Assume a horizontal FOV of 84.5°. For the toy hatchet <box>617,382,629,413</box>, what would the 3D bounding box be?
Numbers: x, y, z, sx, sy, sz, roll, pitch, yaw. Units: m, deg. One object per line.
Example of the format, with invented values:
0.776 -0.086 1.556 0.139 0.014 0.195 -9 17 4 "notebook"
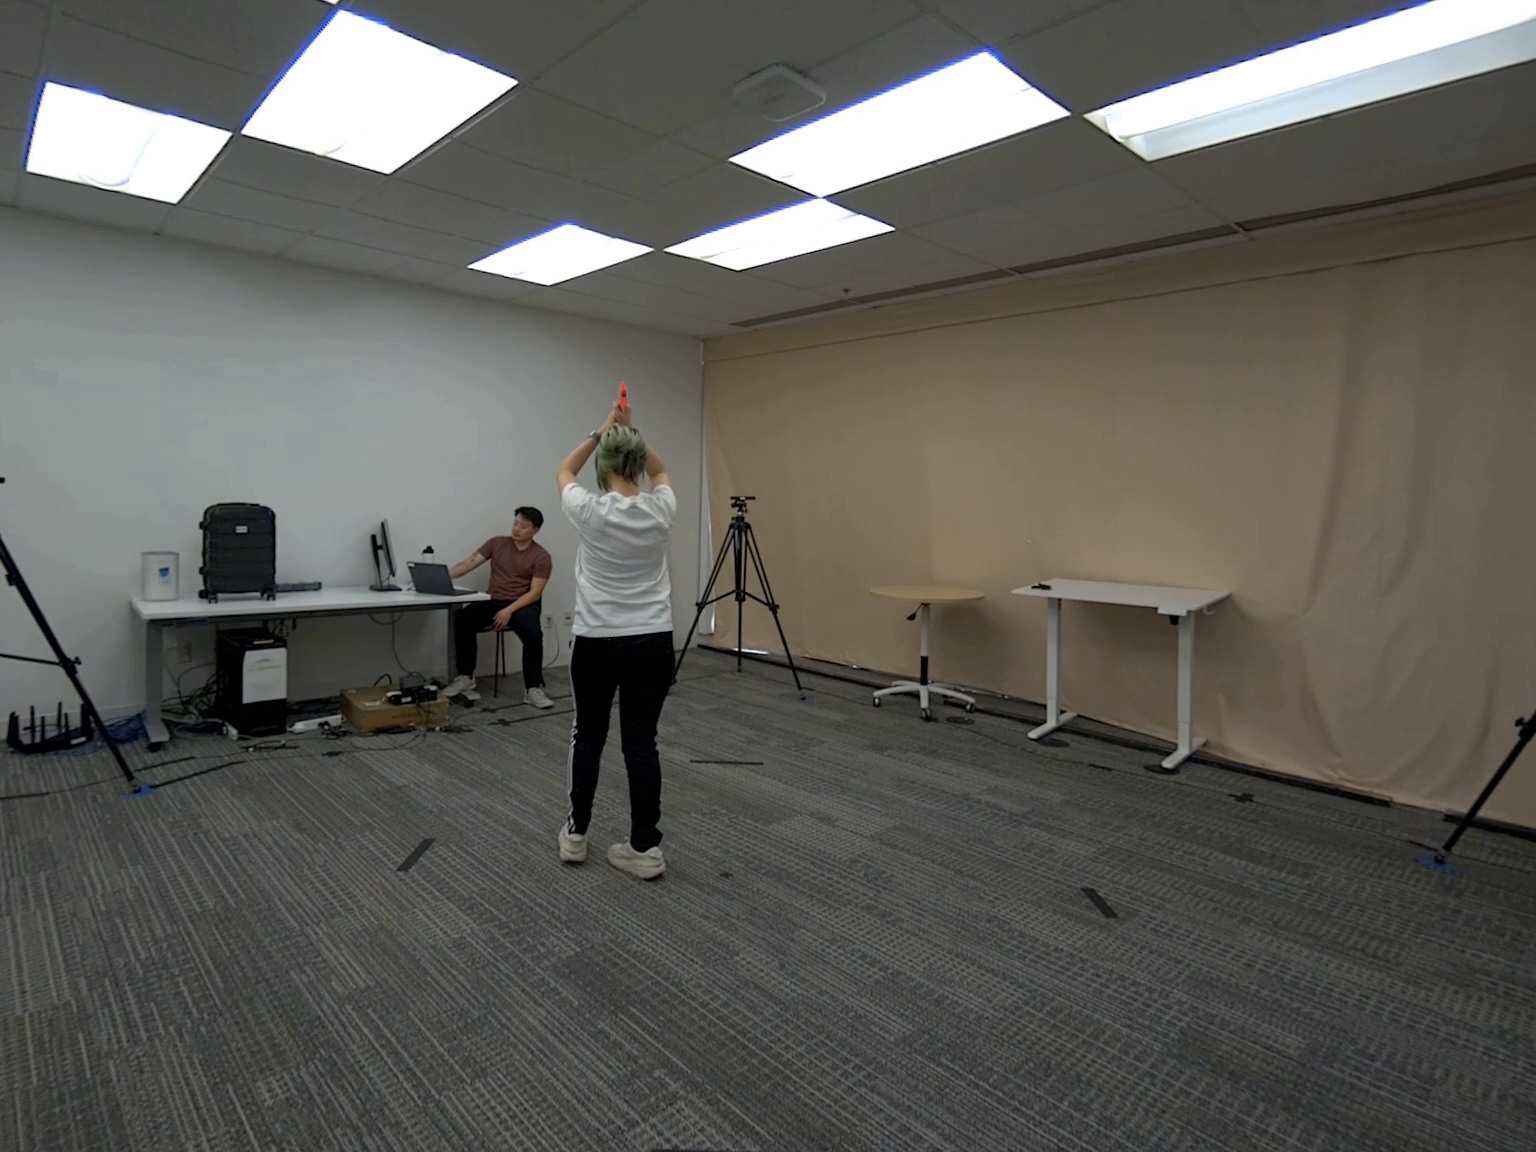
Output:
-0.579 -0.662 3.237 0.029 0.131 0.271 -1 -4 -13 "toy hatchet"
